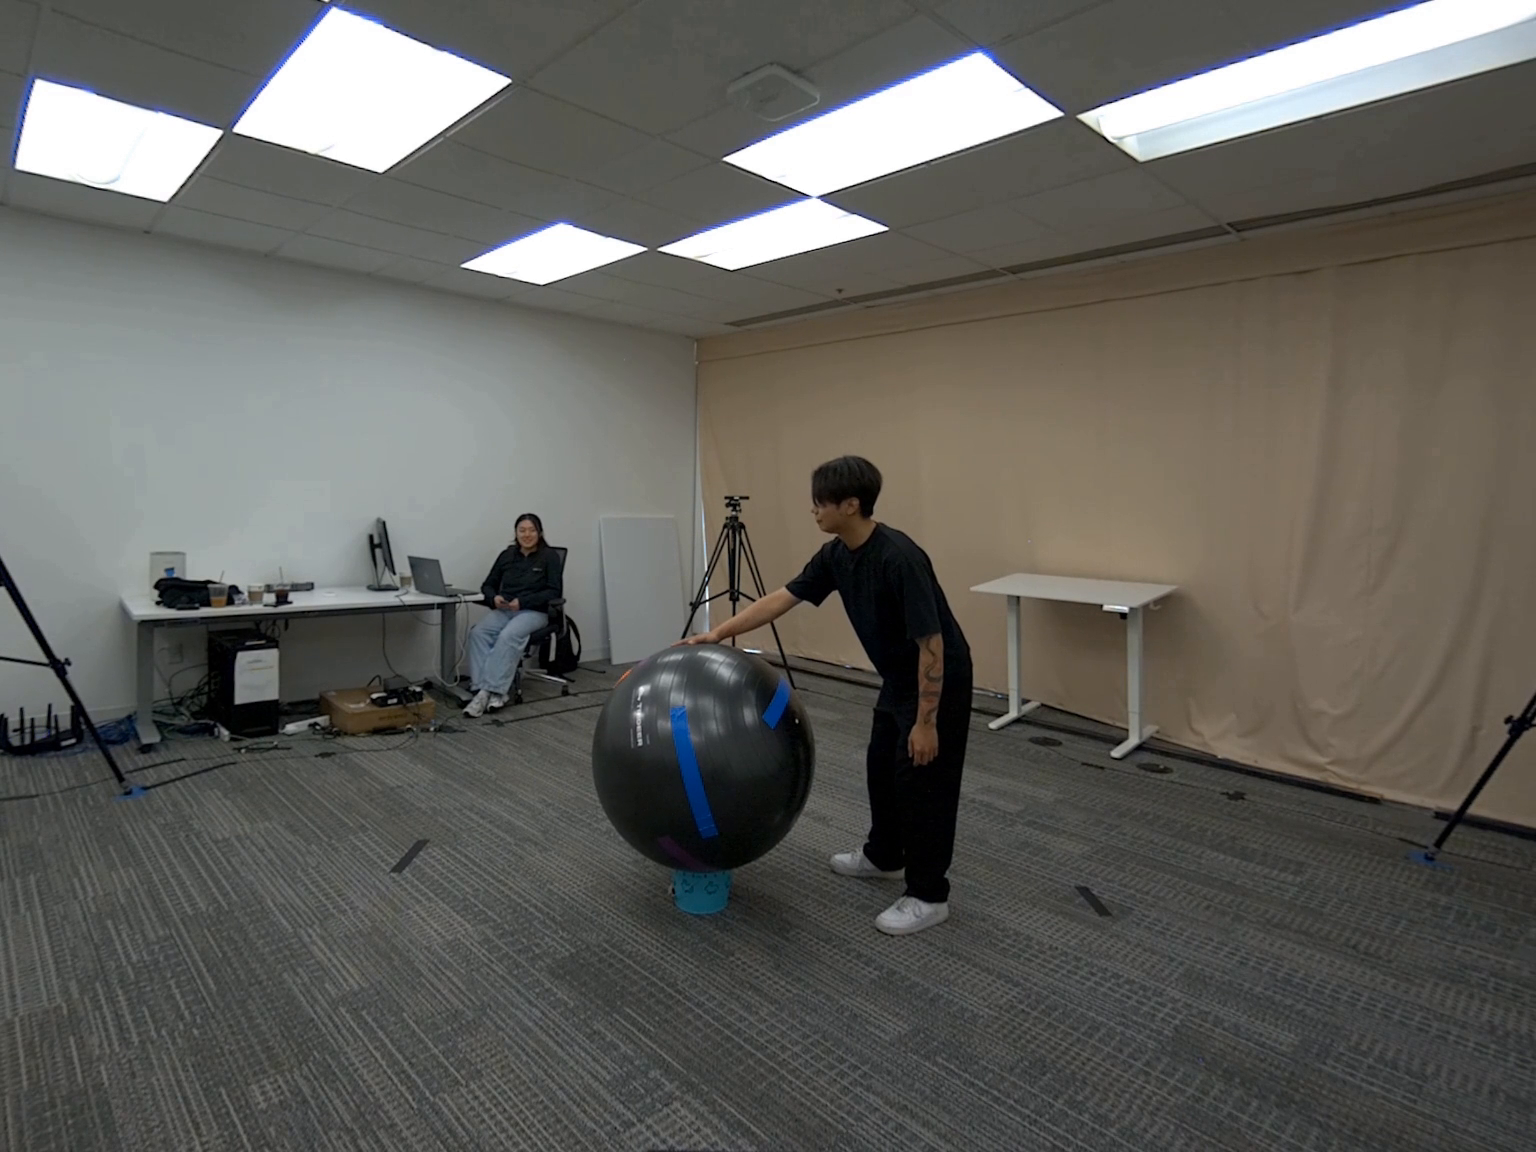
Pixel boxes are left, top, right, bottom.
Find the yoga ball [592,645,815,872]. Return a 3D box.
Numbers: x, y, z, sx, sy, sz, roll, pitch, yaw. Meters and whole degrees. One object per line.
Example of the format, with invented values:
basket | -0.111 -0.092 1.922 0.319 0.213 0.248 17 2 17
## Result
yoga ball | -0.232 0.615 2.882 0.757 0.756 0.761 1 4 -1
